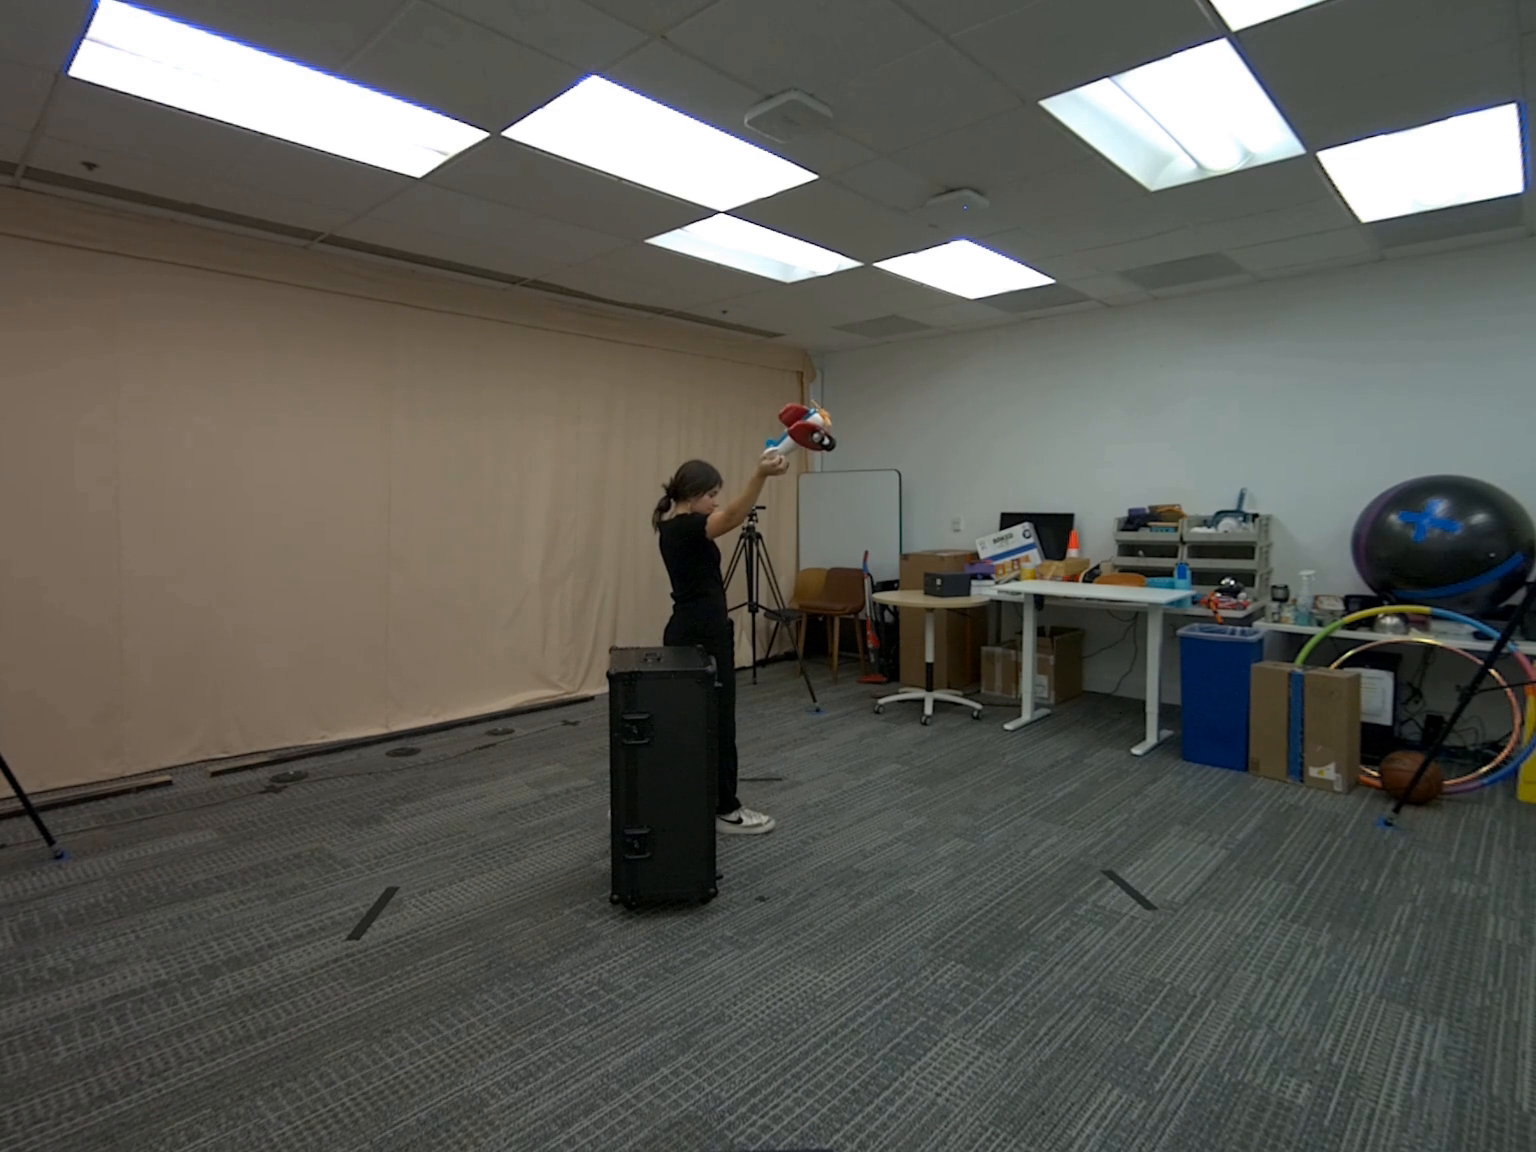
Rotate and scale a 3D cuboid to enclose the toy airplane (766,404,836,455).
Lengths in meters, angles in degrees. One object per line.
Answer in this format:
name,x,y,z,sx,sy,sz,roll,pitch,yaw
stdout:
toy airplane,0.105,-0.499,2.985,0.259,0.159,0.247,-14,-18,1
